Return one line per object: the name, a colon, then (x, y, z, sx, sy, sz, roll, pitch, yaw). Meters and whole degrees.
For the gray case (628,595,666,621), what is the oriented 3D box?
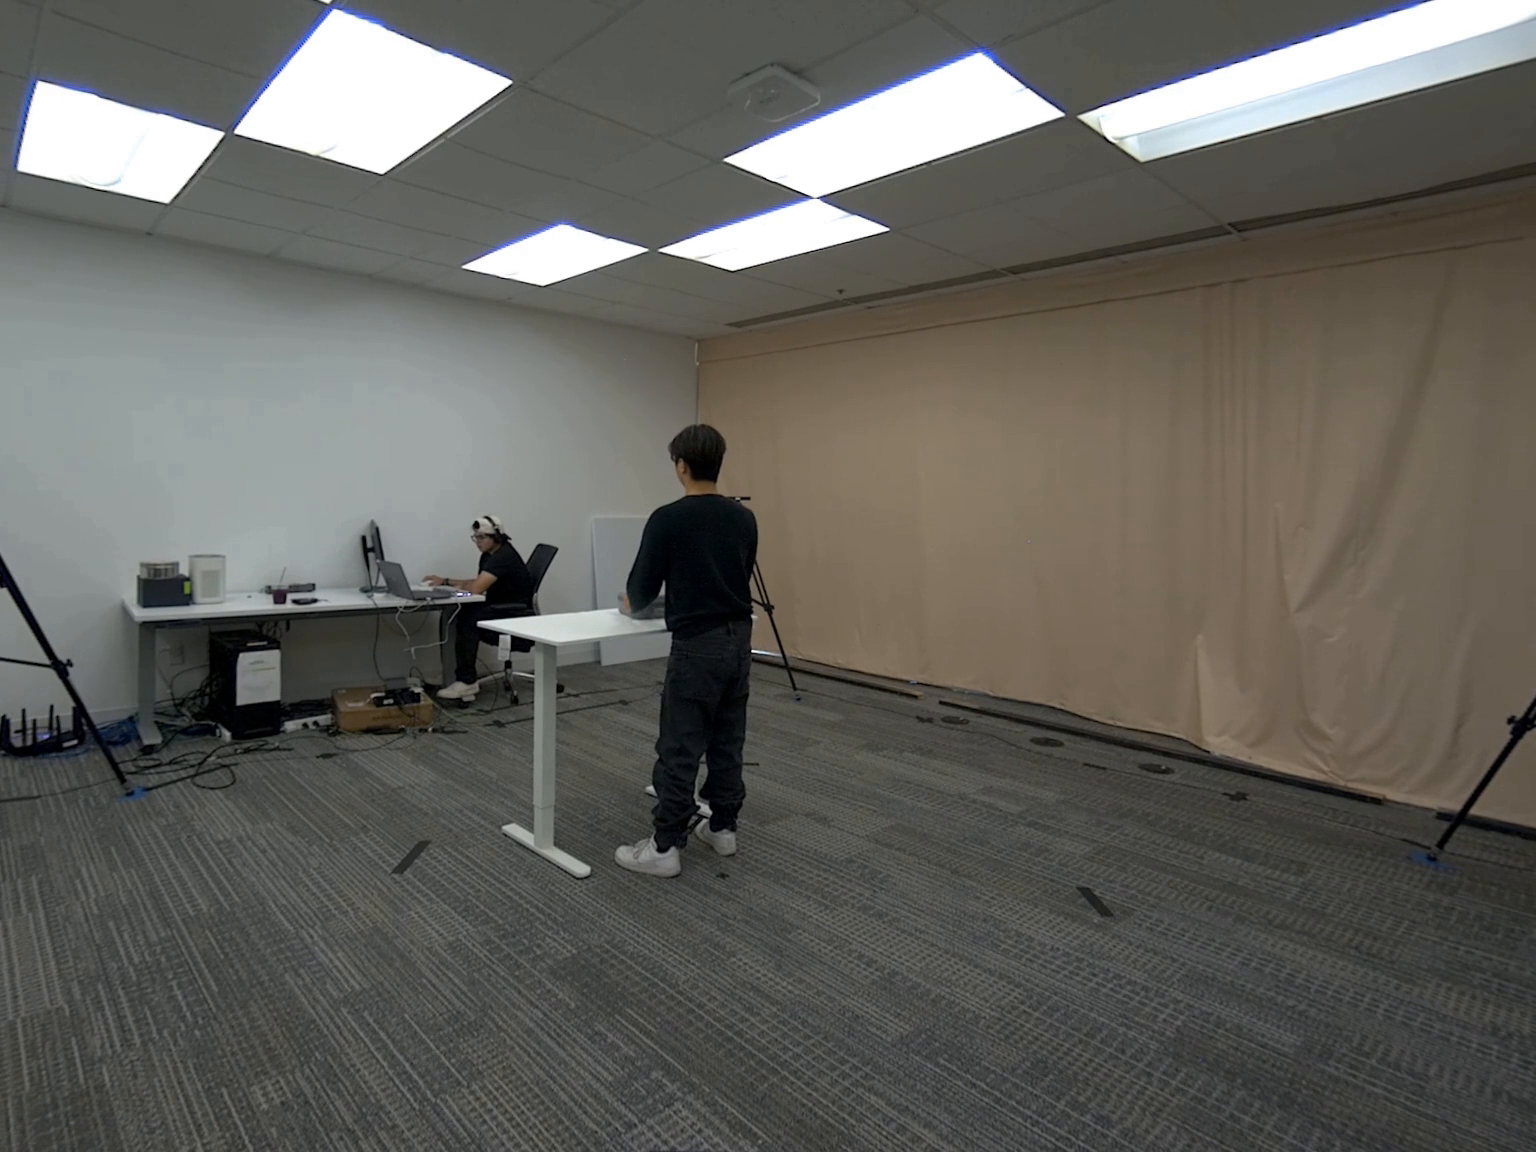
gray case: (-0.497, 0.118, 3.636, 0.251, 0.104, 0.267, -1, 5, -32)
